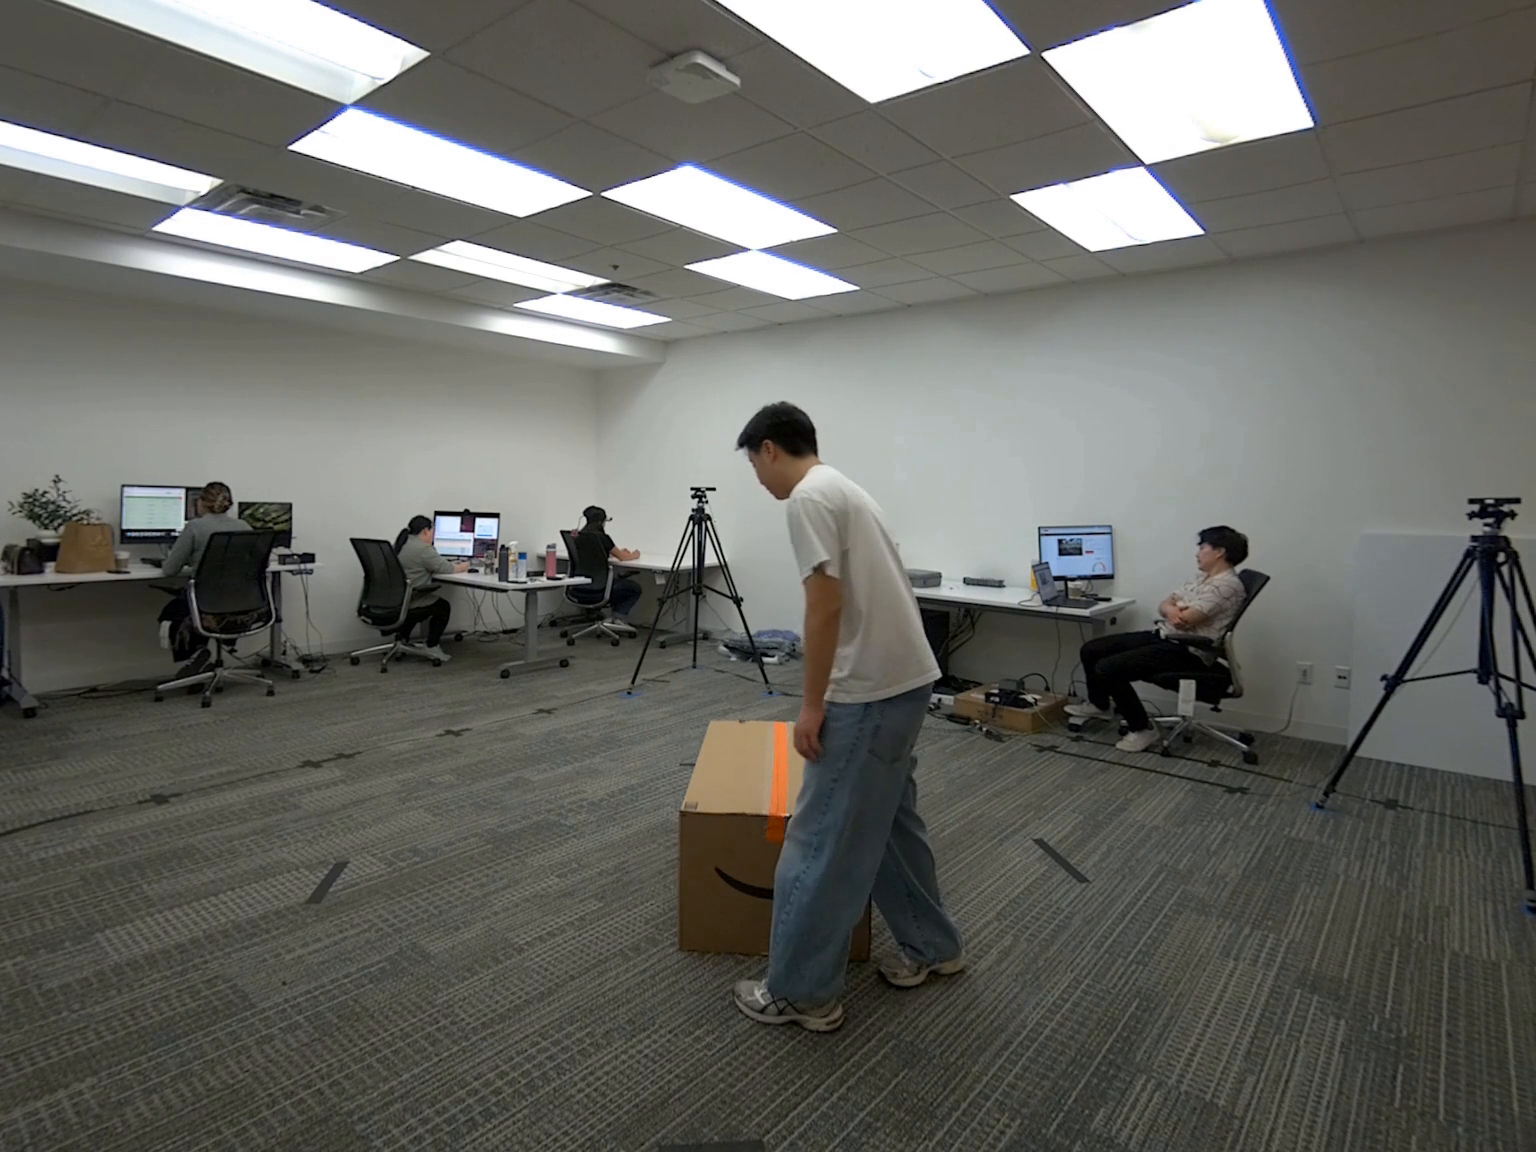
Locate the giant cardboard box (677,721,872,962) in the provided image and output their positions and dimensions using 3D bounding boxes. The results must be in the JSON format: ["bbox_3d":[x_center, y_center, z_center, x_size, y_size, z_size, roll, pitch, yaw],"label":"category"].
[{"bbox_3d":[0.019,0.861,3.021,0.579,0.424,1.026,2,5,2],"label":"giant cardboard box"}]
